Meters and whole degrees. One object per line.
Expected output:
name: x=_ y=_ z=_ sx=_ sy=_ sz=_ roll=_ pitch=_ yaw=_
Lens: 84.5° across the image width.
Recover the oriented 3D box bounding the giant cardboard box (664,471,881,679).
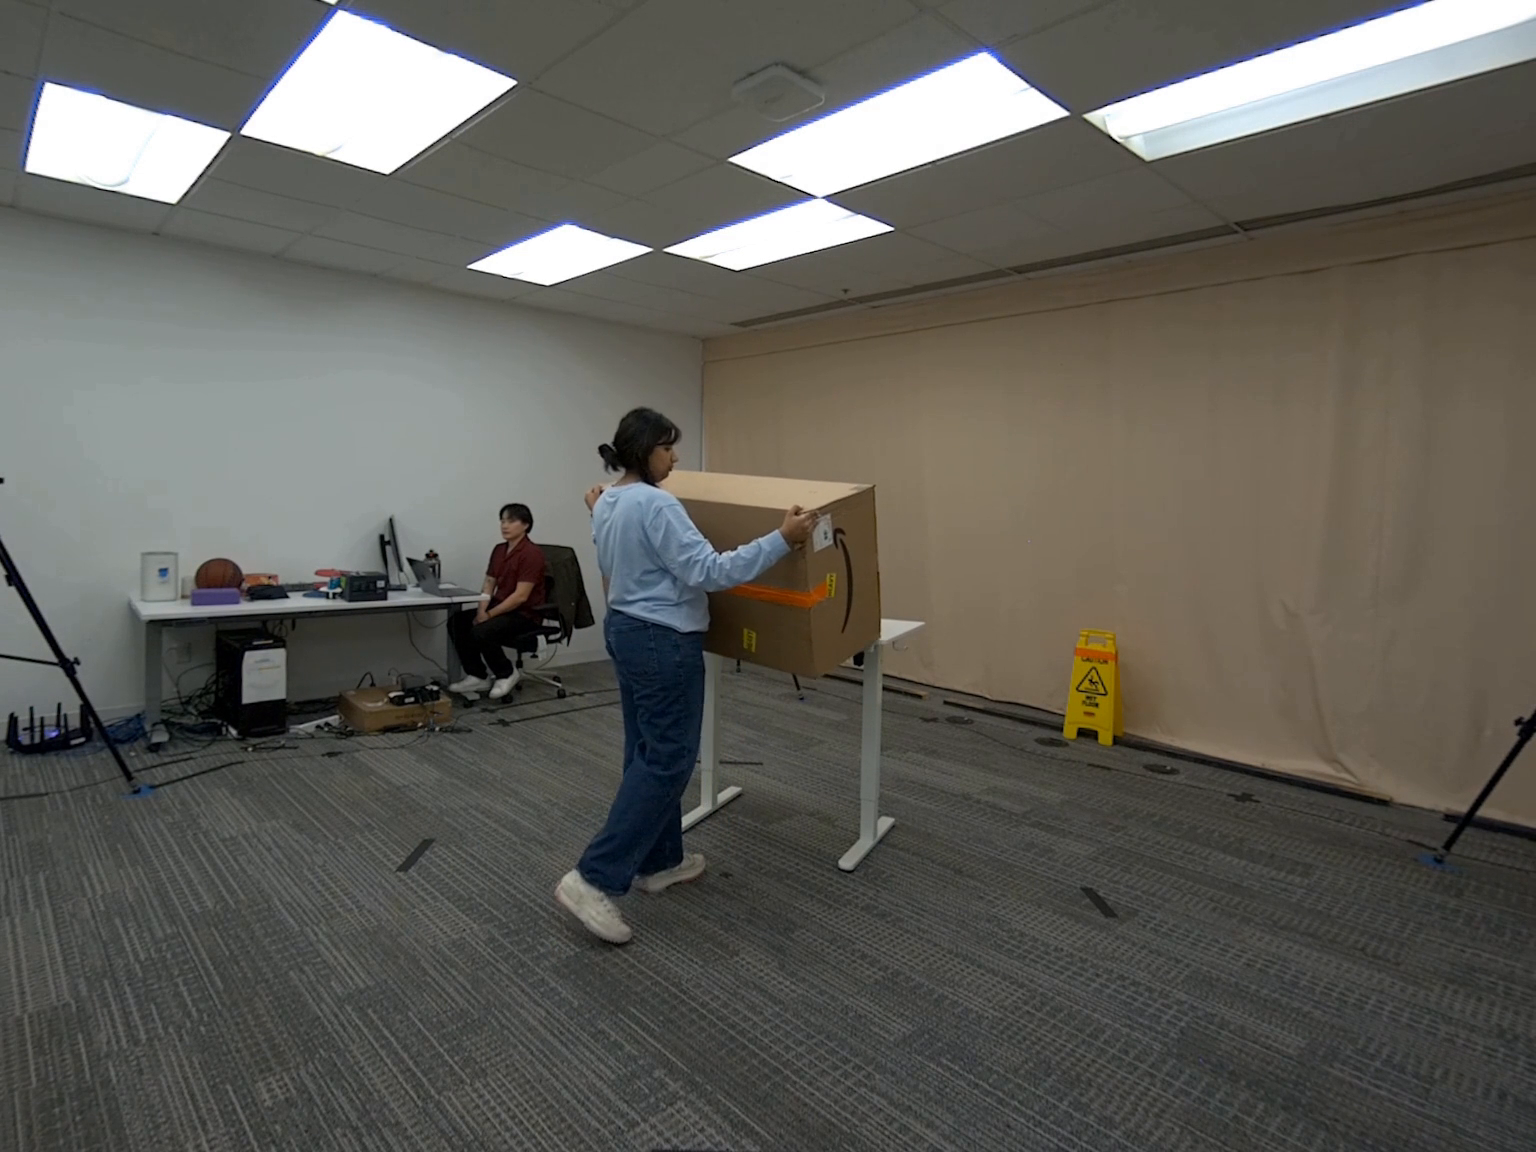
giant cardboard box: x=-0.133 y=-0.054 z=3.172 sx=1.053 sy=0.570 sz=0.420 roll=10 pitch=22 yaw=40
